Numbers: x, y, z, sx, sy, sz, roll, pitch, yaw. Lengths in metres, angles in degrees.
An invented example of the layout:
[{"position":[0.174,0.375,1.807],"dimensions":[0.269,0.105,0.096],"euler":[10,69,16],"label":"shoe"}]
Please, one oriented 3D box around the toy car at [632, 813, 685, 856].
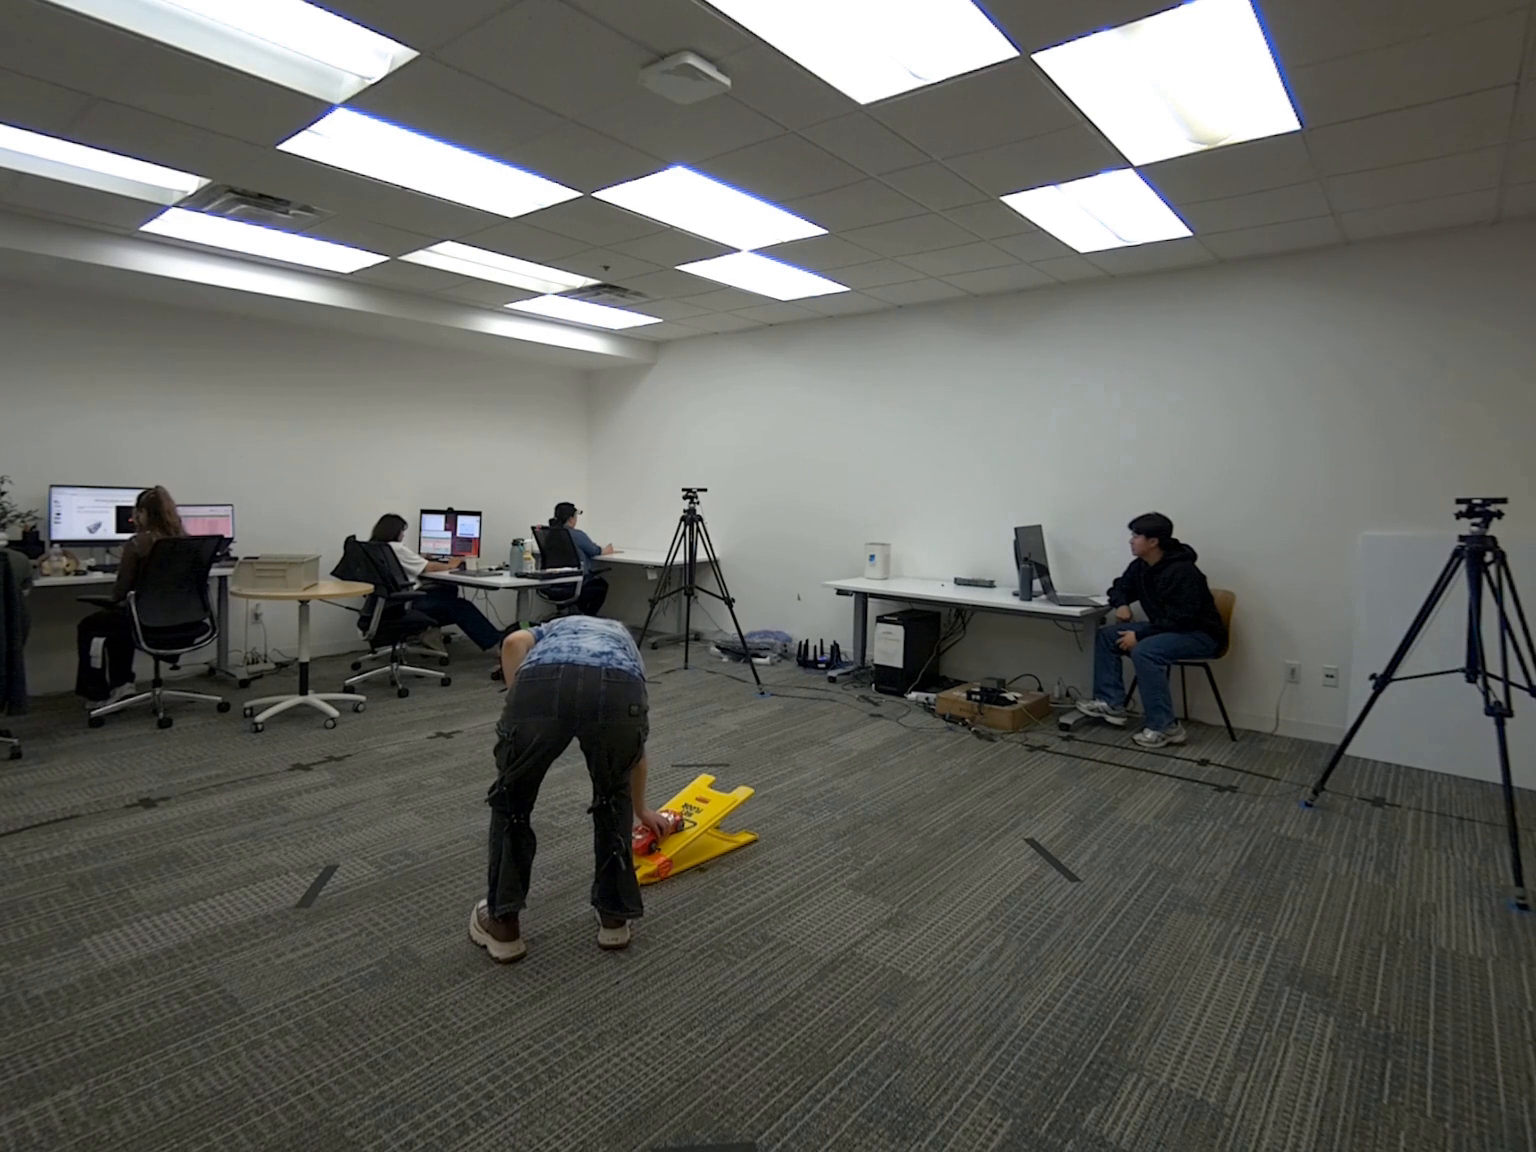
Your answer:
[{"position":[-0.437,0.940,3.117],"dimensions":[0.135,0.082,0.248],"euler":[6,13,40],"label":"toy car"}]
